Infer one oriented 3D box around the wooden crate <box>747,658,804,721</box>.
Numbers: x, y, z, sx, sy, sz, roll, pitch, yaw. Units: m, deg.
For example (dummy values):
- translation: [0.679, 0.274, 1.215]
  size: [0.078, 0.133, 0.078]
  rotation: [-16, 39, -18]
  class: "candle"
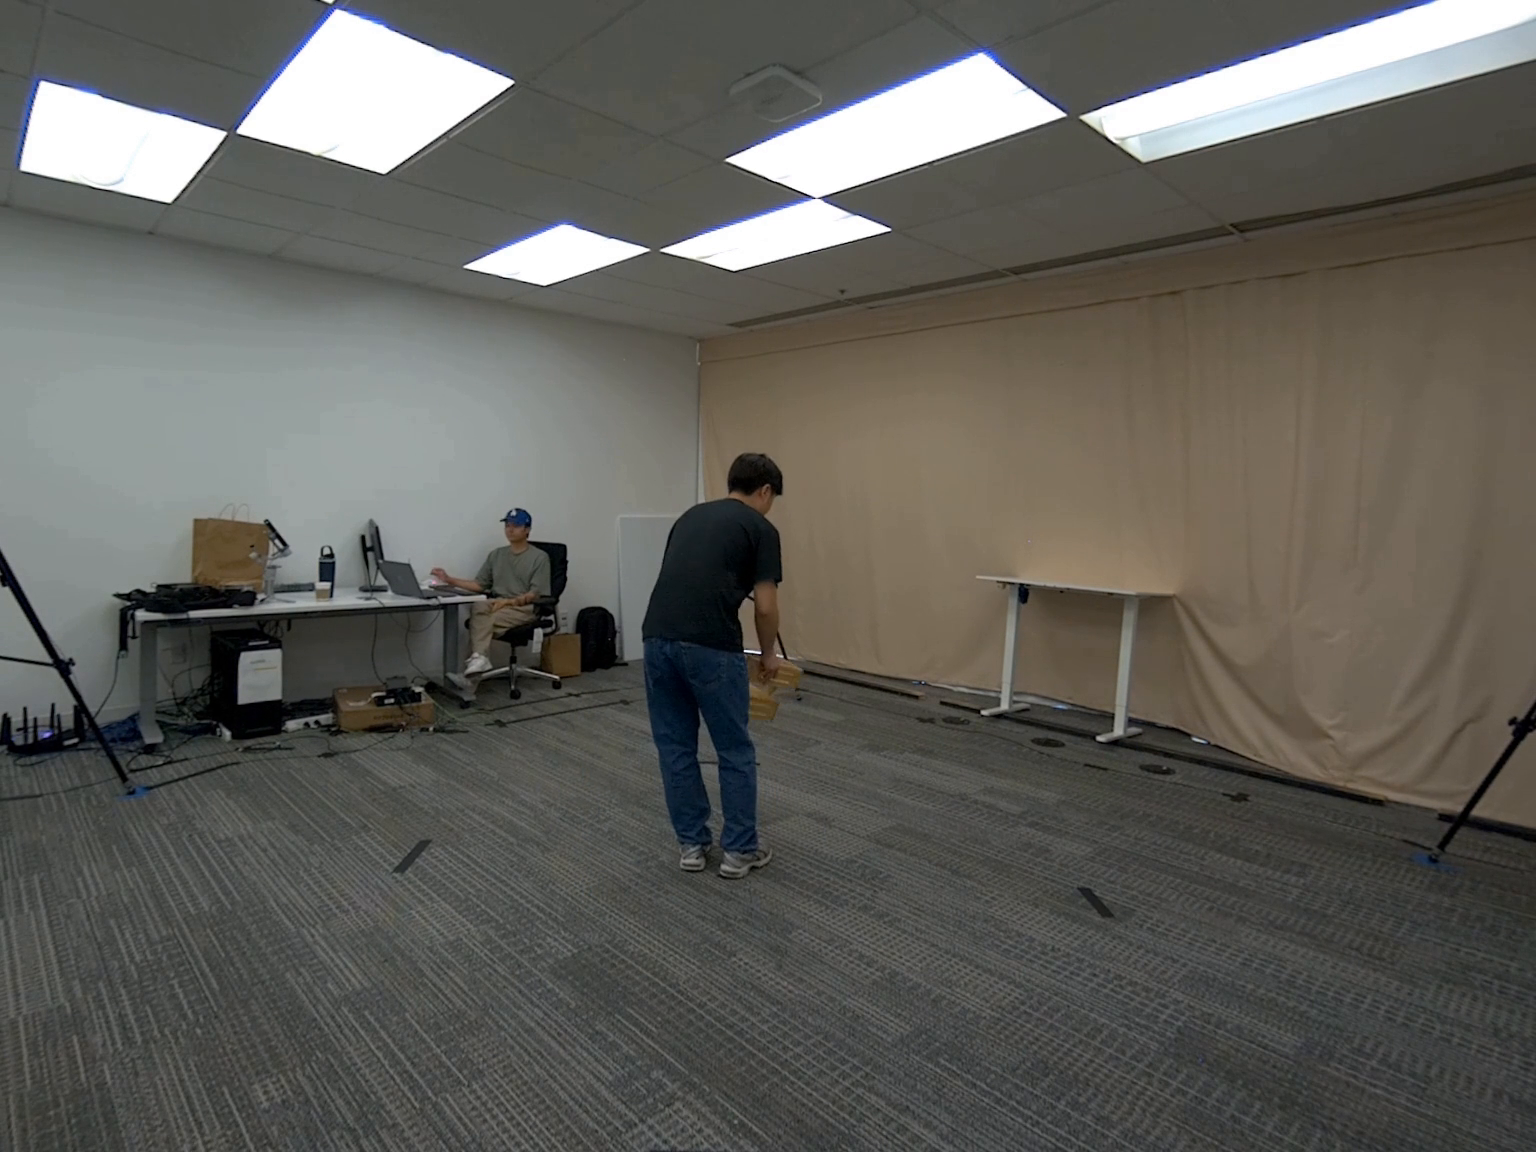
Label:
- translation: [-0.091, 0.437, 3.490]
  size: [0.311, 0.273, 0.315]
  rotation: [24, 3, 43]
  class: "wooden crate"
